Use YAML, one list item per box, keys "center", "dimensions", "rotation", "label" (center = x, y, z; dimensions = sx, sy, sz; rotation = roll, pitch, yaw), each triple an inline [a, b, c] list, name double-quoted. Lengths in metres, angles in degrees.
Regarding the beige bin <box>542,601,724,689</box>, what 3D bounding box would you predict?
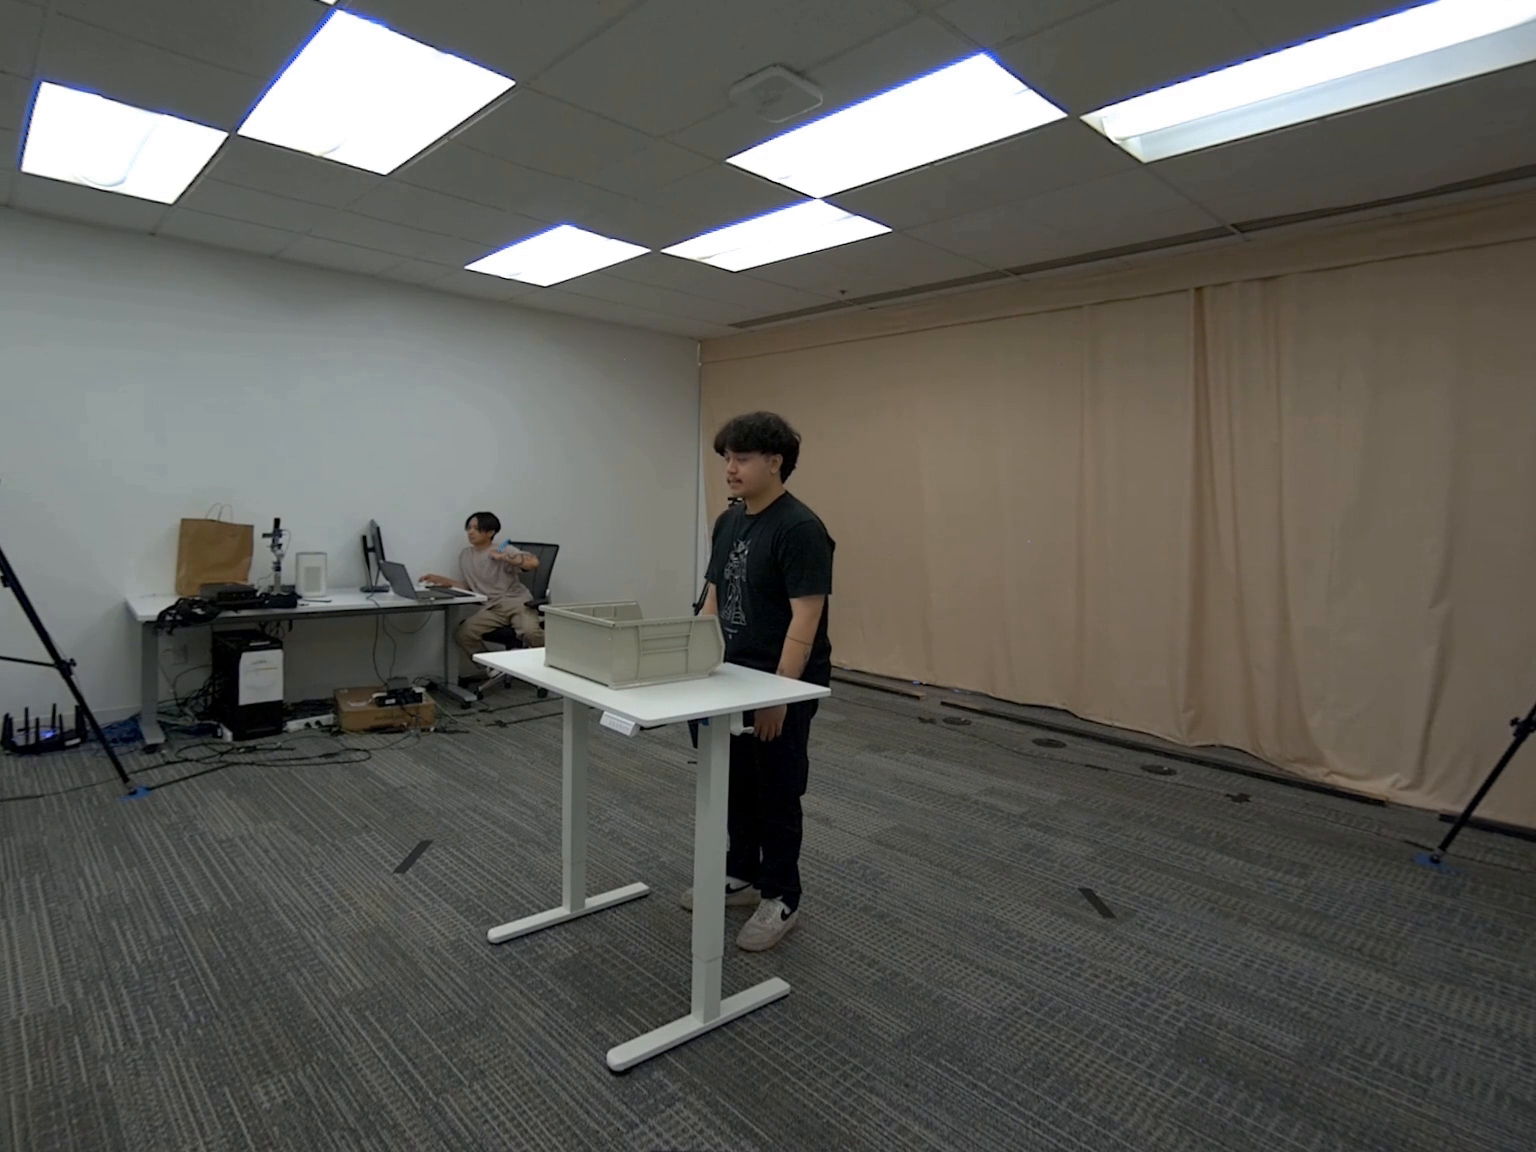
- center: [-0.405, 0.189, 2.458]
  dimensions: [0.369, 0.188, 0.433]
  rotation: [-3, 7, -39]
  label: "beige bin"
